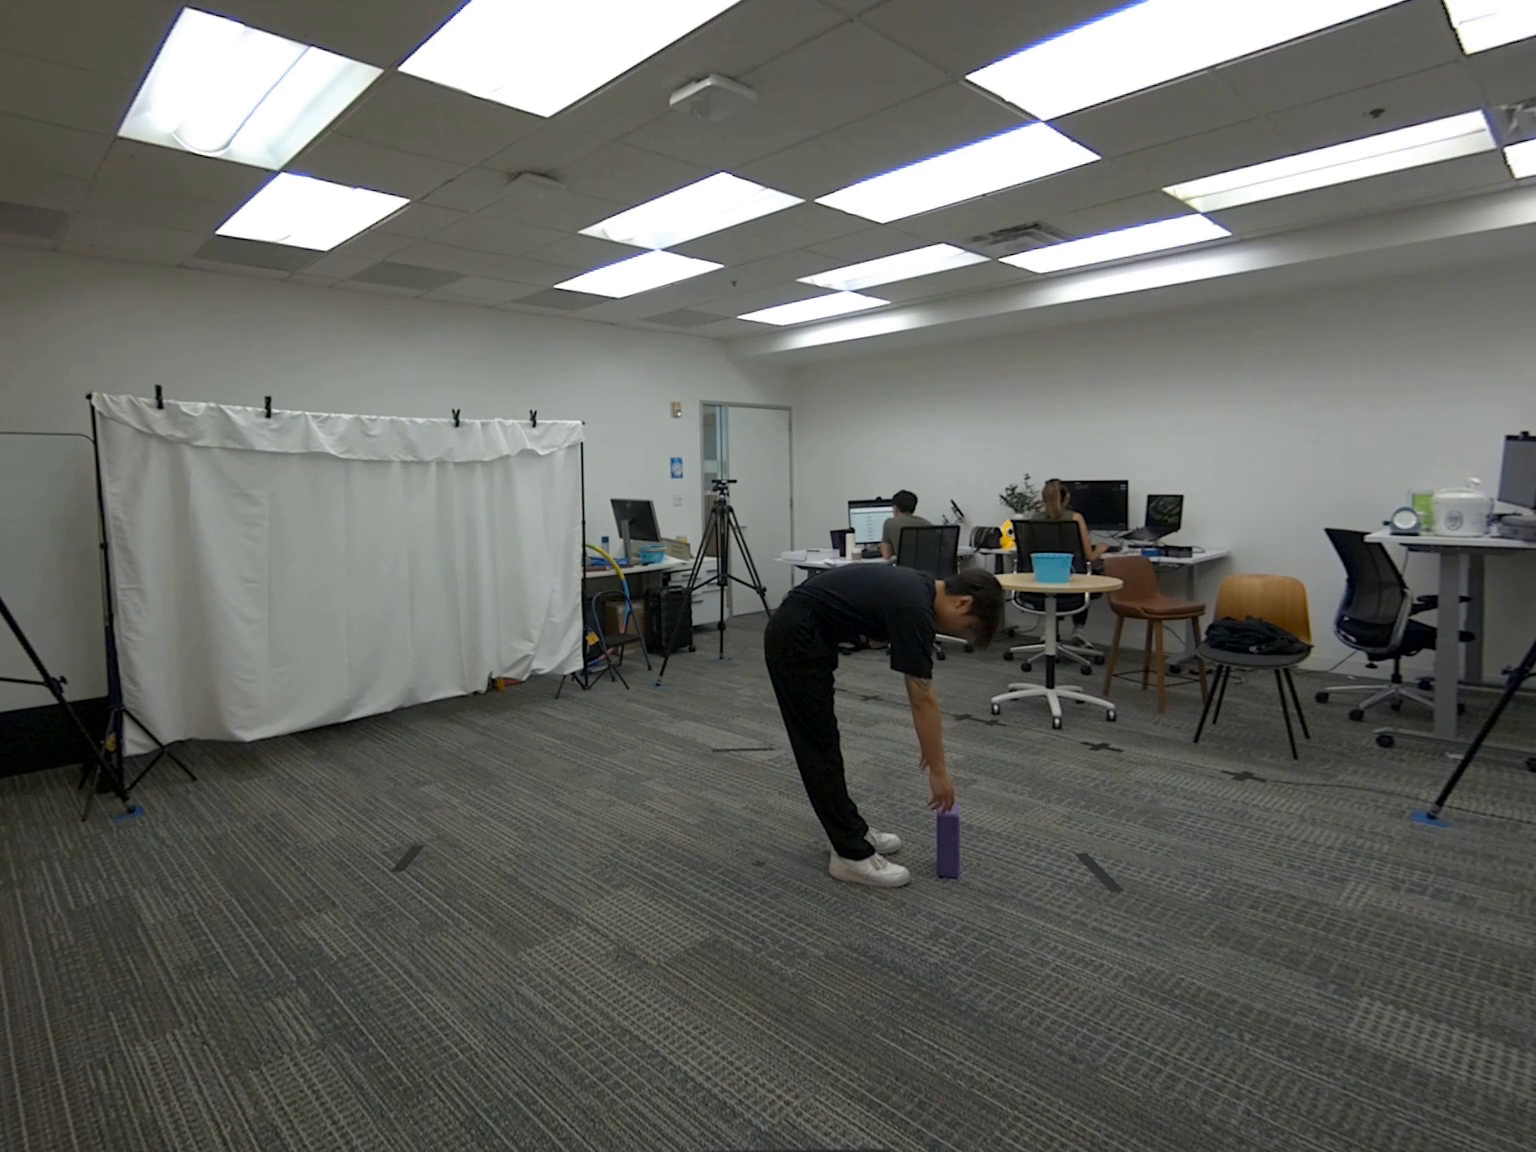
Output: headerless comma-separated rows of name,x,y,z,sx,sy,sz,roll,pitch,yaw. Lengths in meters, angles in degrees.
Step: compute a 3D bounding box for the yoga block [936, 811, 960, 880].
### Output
yoga block,0.632,0.925,3.026,0.077,0.228,0.148,0,4,11
